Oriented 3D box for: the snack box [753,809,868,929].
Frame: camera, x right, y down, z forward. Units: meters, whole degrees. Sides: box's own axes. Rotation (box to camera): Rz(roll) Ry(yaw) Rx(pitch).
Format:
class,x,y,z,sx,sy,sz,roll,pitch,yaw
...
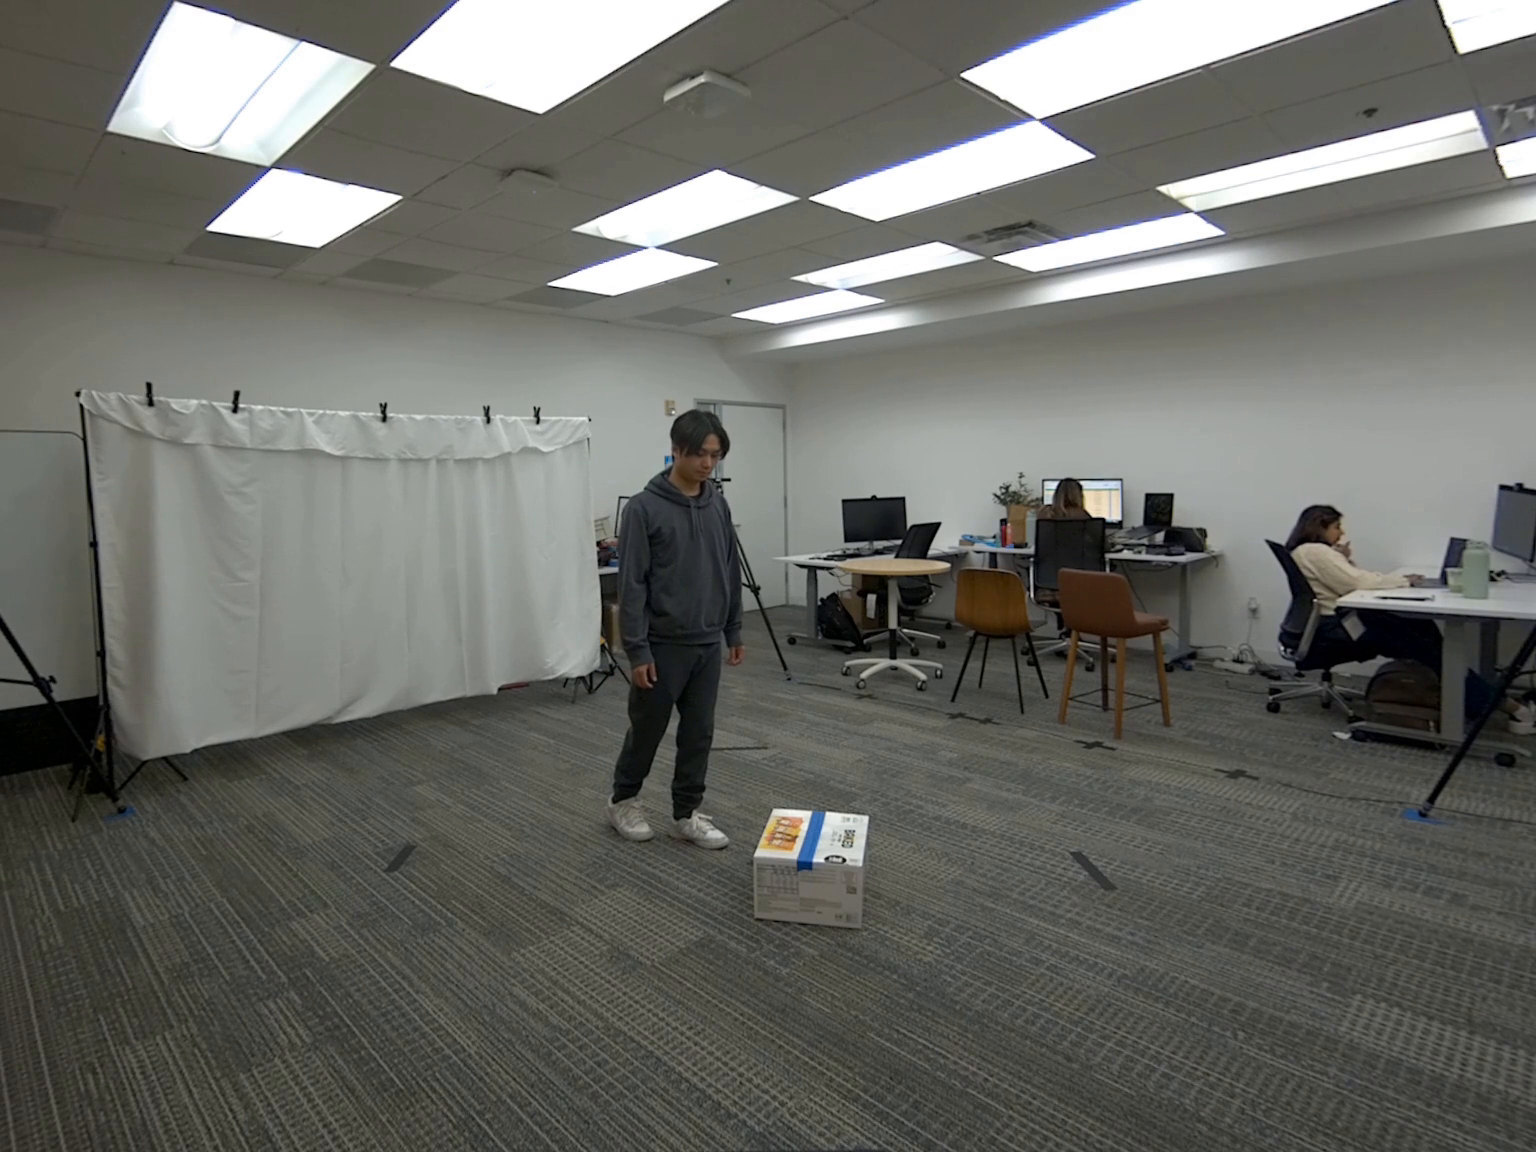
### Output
class,x,y,z,sx,sy,sz,roll,pitch,yaw
snack box,0.160,0.965,2.856,0.344,0.205,0.402,0,6,11
